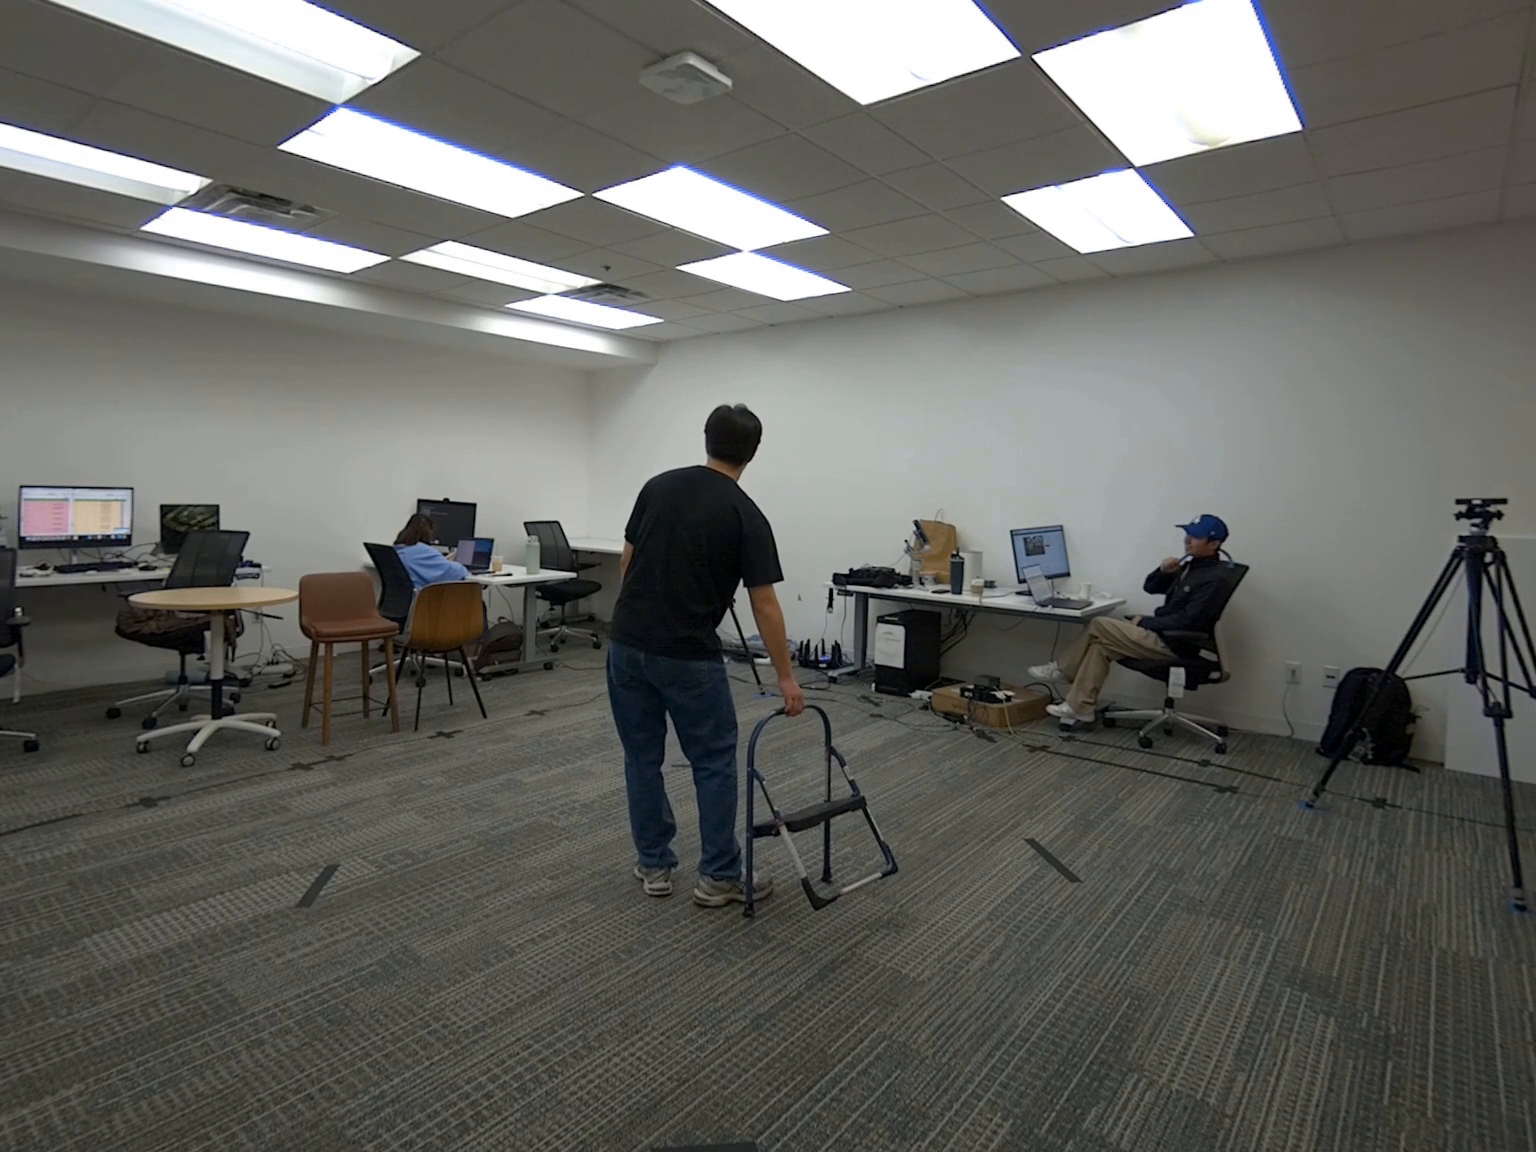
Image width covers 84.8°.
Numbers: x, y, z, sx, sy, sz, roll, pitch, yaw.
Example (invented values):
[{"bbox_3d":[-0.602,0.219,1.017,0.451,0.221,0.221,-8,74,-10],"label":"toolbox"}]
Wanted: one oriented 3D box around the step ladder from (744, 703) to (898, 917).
[{"bbox_3d":[0.101,0.755,2.864,0.417,0.616,0.354,-3,-18,-45],"label":"step ladder"}]
